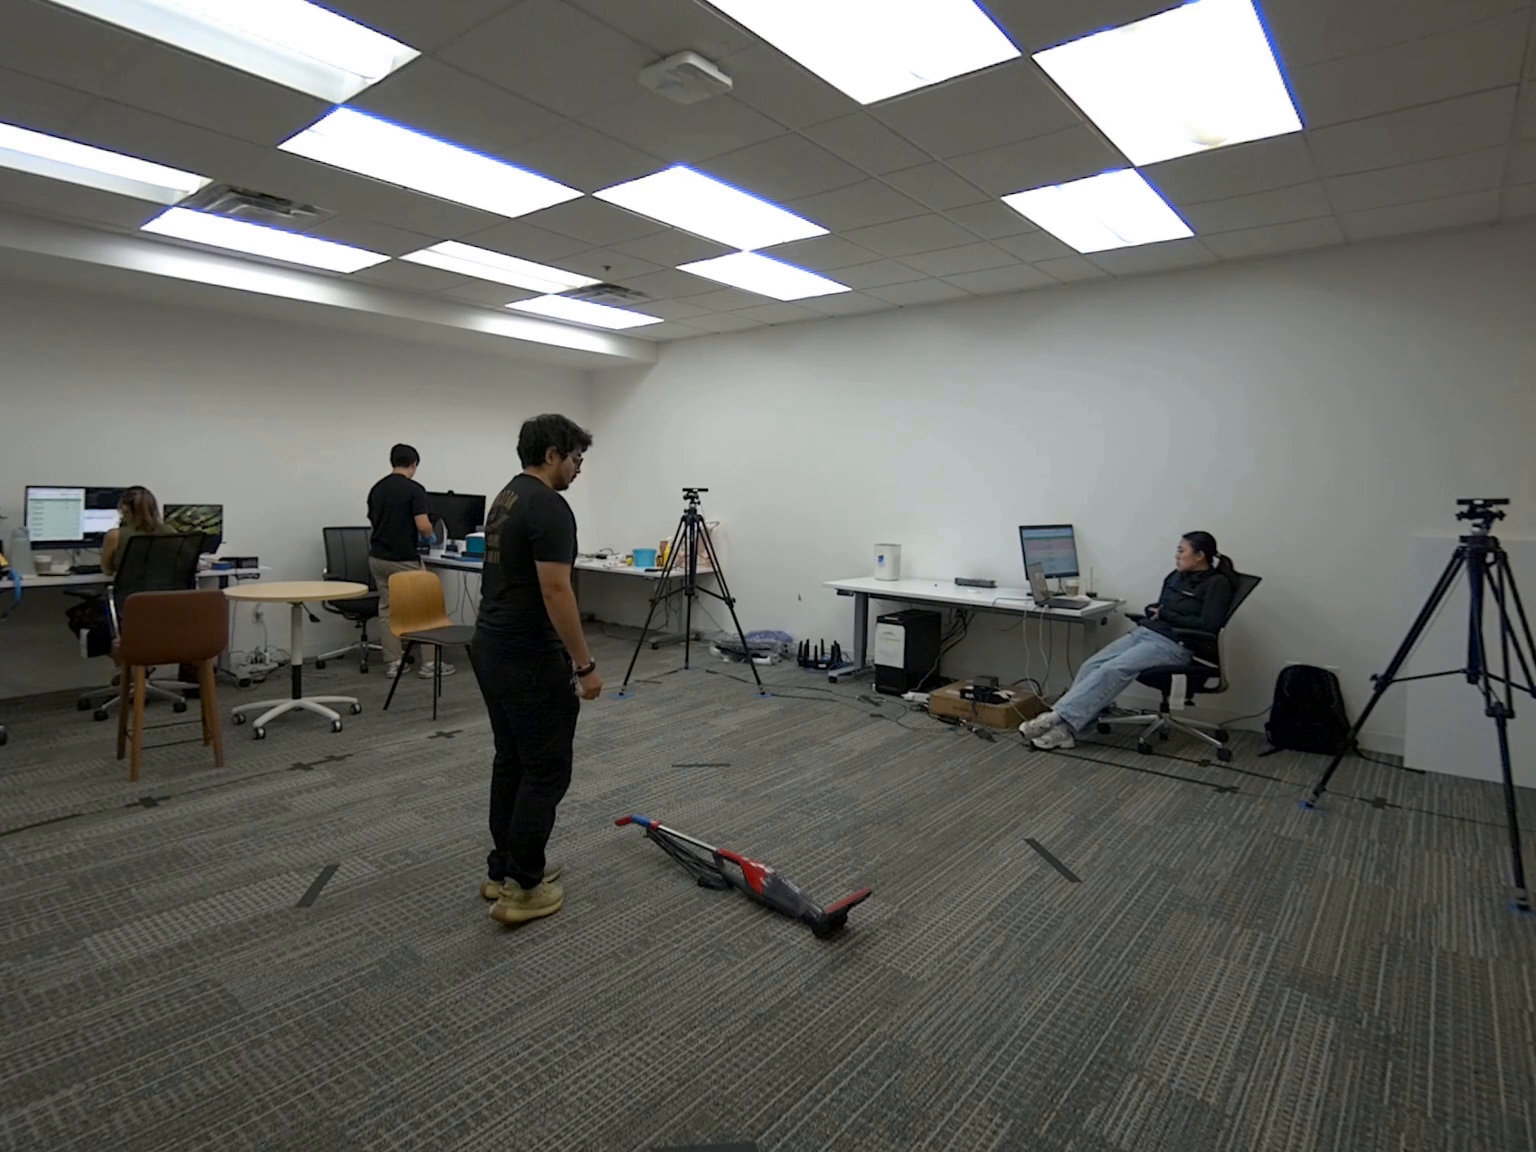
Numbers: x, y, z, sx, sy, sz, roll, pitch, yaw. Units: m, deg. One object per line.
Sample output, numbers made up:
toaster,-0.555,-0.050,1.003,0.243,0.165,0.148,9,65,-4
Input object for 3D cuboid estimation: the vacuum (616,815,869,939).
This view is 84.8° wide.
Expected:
vacuum,-0.191,1.023,3.003,1.085,0.144,0.244,5,3,41
